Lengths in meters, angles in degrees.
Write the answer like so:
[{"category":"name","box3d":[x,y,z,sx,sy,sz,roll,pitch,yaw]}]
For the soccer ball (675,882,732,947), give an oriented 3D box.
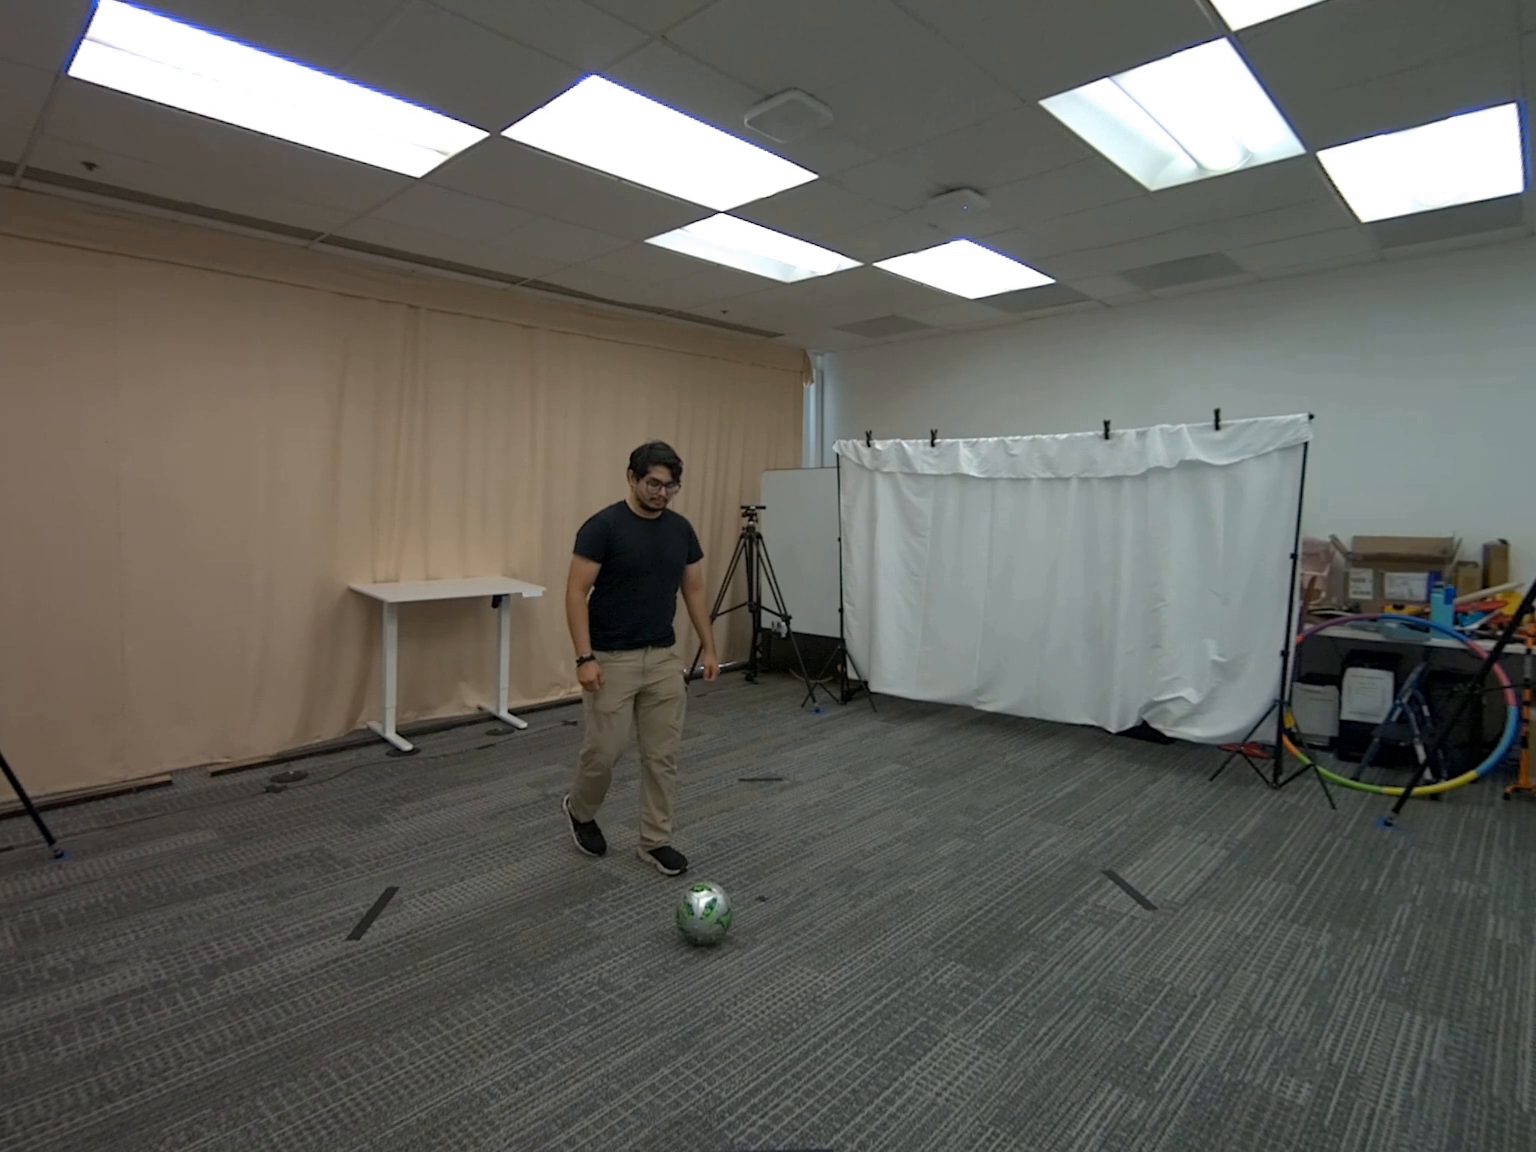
[{"category":"soccer ball","box3d":[-0.203,1.073,2.691,0.187,0.187,0.188,0,4,-2]}]
